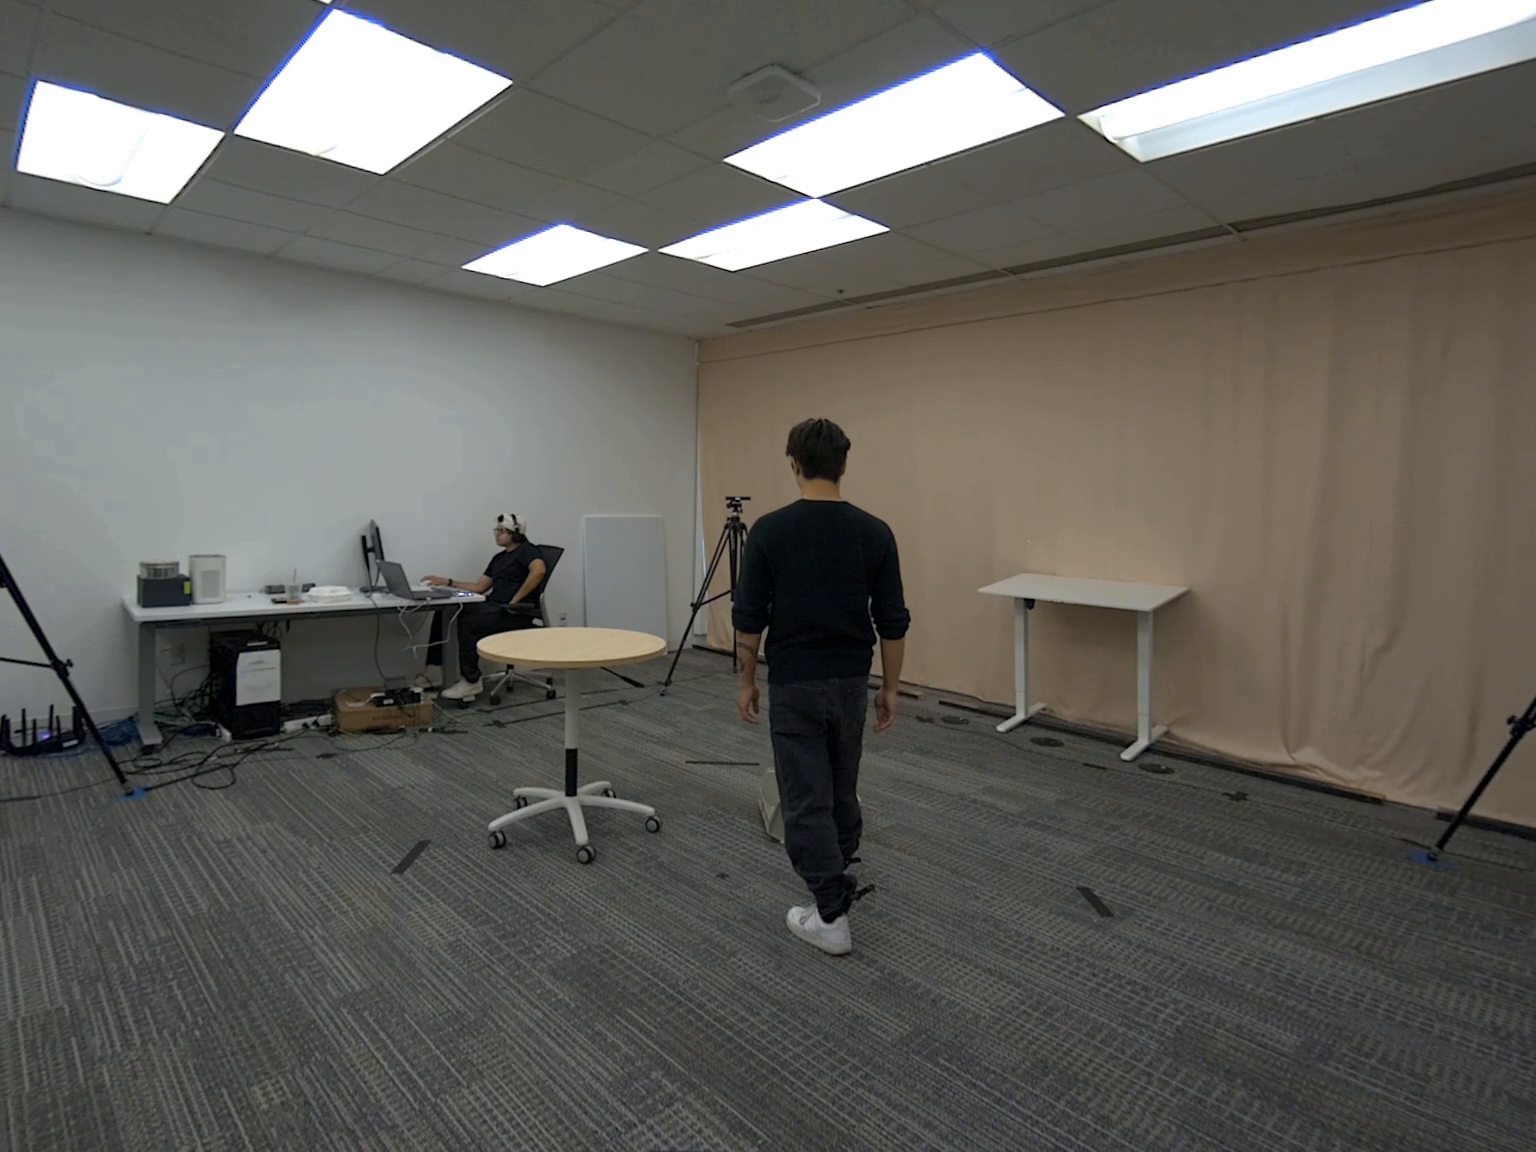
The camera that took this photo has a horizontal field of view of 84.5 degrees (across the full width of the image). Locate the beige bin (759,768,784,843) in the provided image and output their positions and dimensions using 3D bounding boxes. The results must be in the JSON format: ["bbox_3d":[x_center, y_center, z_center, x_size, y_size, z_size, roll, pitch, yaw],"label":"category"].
[{"bbox_3d":[0.160,0.982,3.617,0.376,0.188,0.425,1,4,-5],"label":"beige bin"}]
